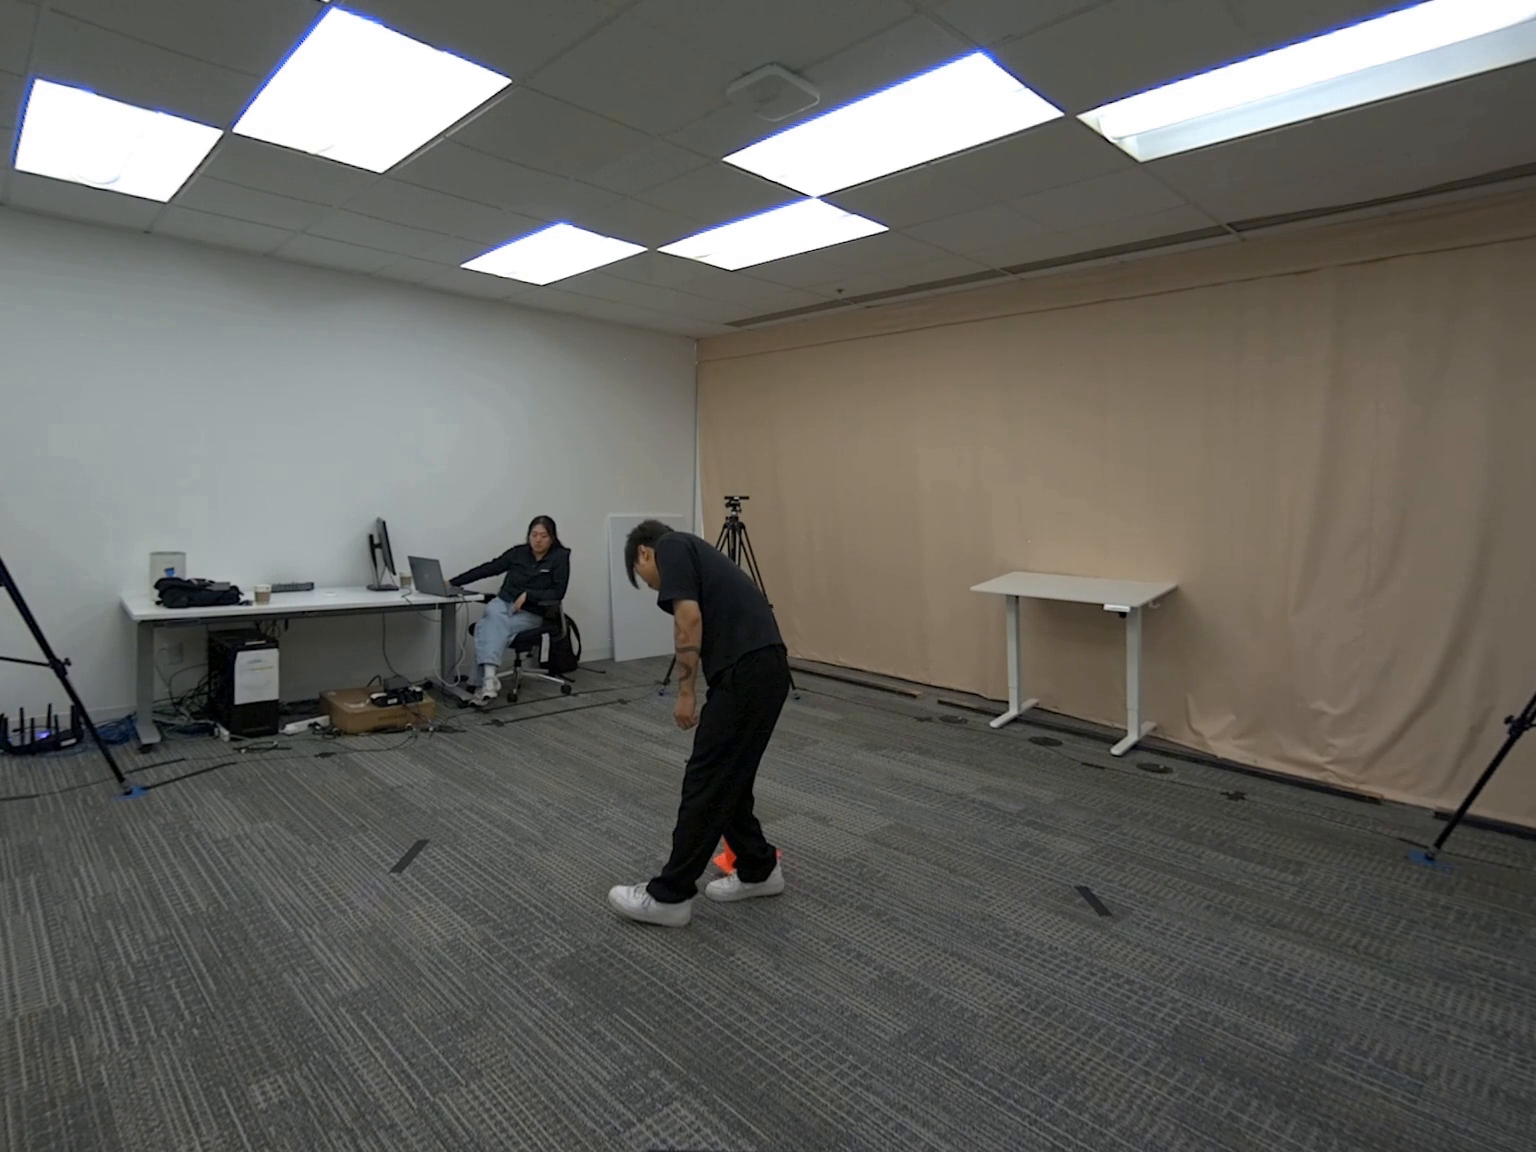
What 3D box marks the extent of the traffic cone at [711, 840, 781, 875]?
[{"bbox_3d":[-0.128,0.901,3.139,0.203,0.379,0.208,-15,14,-20],"label":"traffic cone"}]
